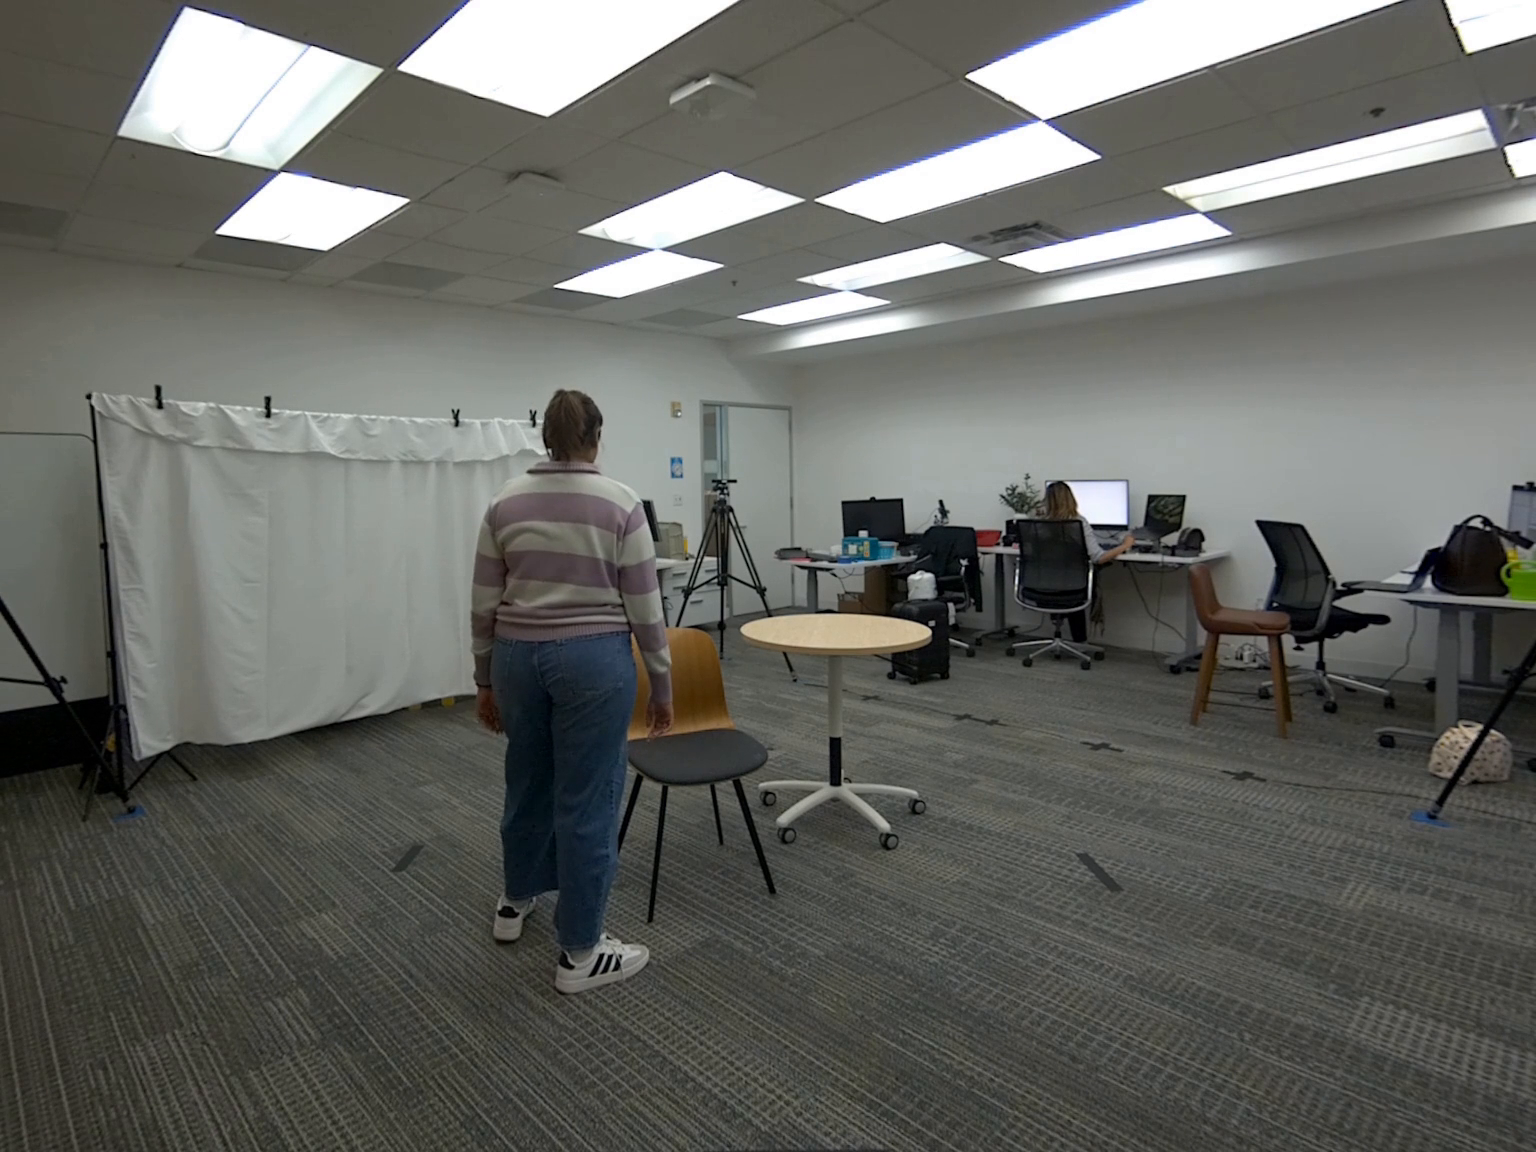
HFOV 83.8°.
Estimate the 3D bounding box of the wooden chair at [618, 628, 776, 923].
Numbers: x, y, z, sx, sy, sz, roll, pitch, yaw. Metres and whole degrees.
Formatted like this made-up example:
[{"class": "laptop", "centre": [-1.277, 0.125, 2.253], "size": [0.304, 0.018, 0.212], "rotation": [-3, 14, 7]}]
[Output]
[{"class": "wooden chair", "centre": [-0.274, 0.642, 2.956], "size": [0.468, 0.877, 0.534], "rotation": [-3, 0, -25]}]
